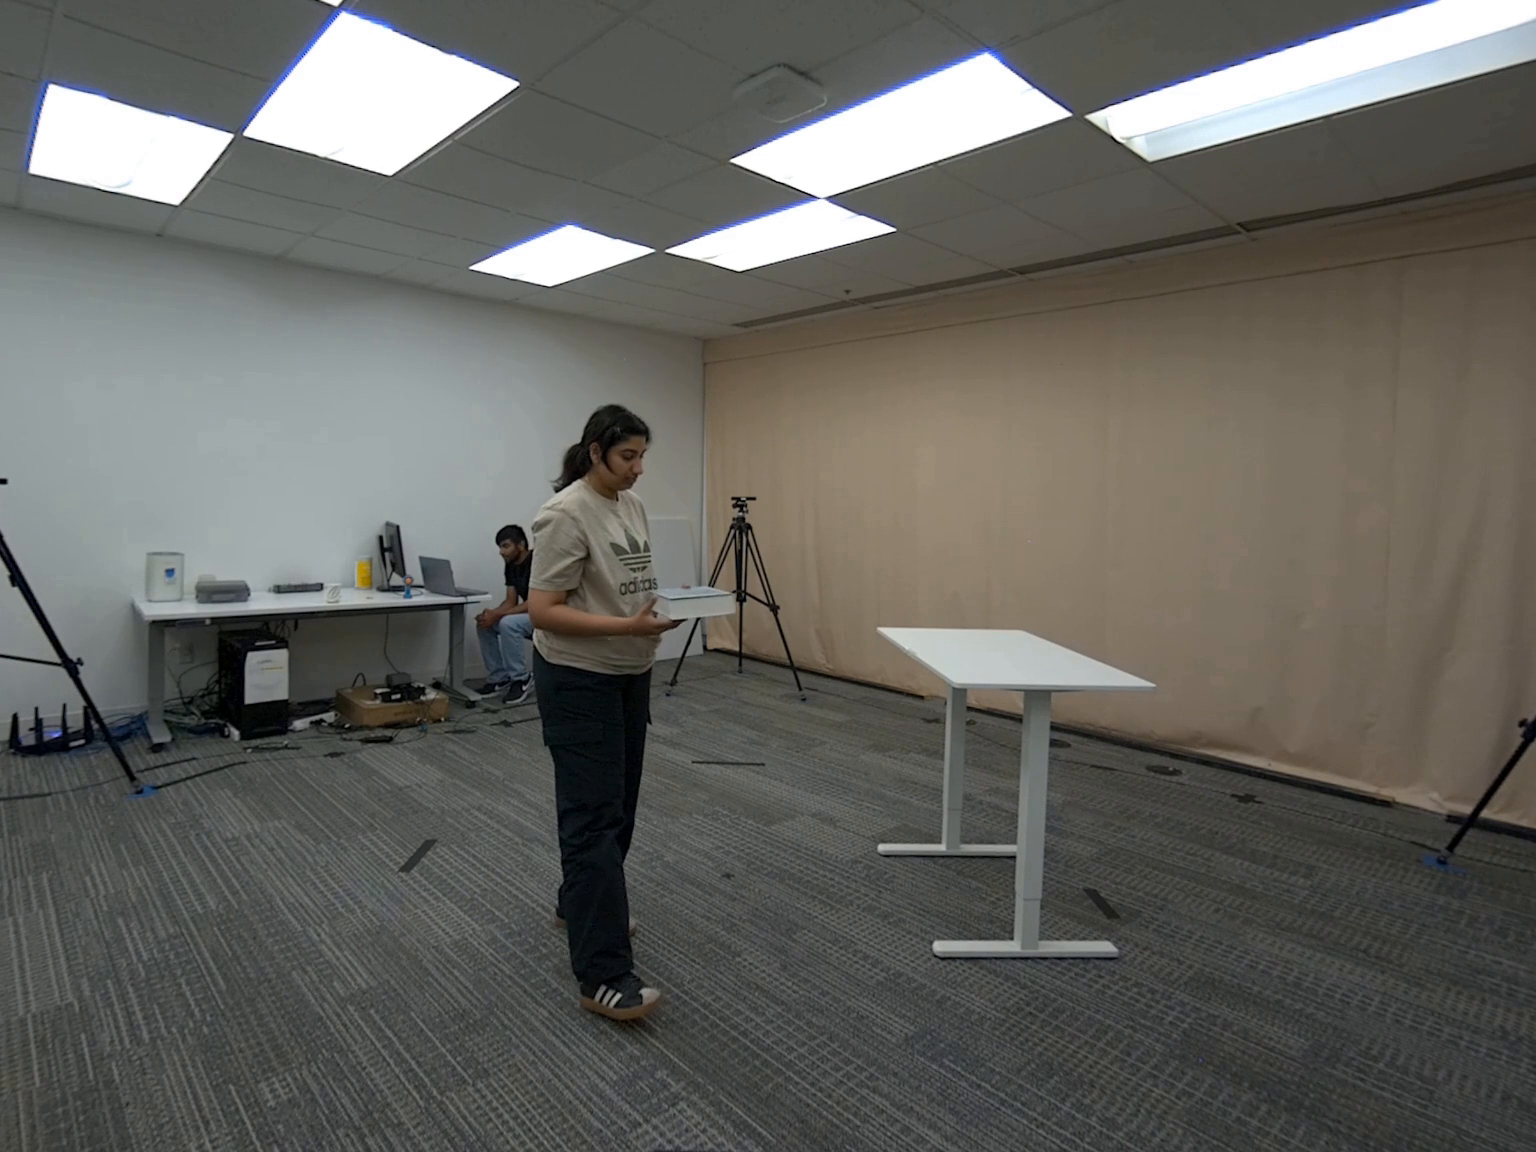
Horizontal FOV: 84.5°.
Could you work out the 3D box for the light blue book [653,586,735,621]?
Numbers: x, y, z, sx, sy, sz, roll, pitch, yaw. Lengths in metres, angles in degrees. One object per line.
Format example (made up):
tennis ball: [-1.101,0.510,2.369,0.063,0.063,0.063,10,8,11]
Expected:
light blue book: [-0.239,0.079,2.425,0.189,0.059,0.264,-4,5,-13]
